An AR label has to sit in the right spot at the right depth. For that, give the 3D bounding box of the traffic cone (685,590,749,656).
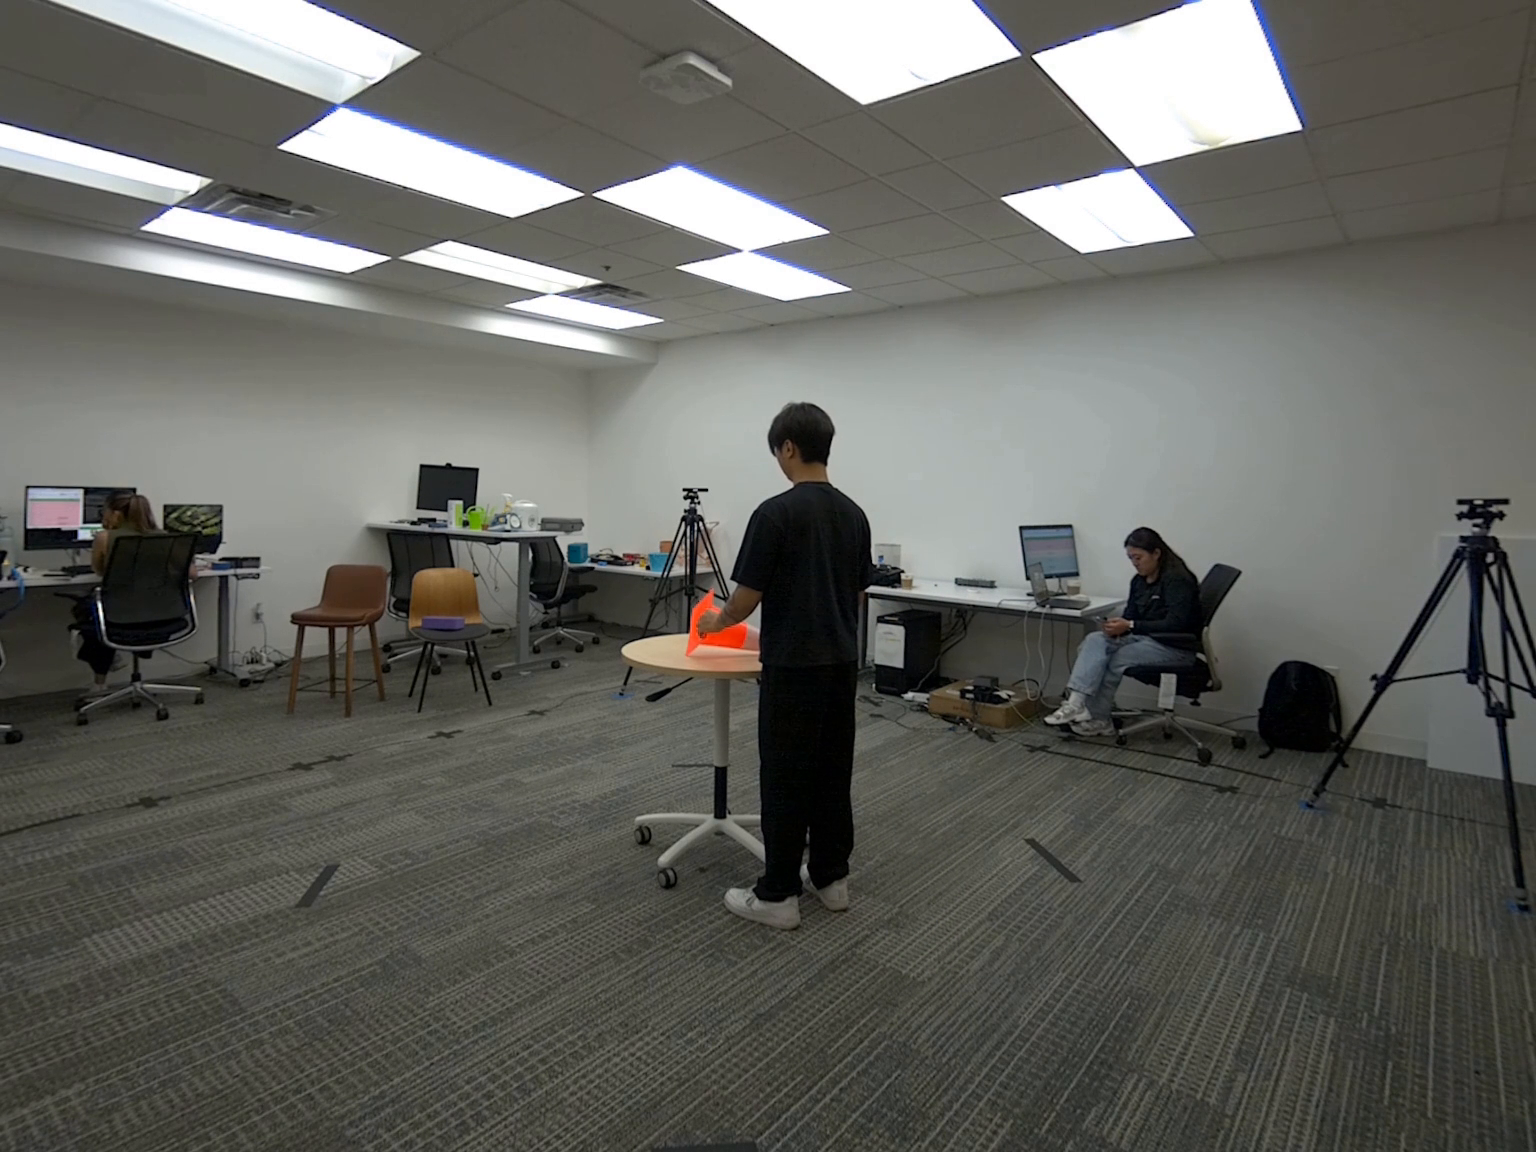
[{"bbox_3d":[-0.079,0.225,3.113,0.376,0.208,0.204,18,-35,-15],"label":"traffic cone"}]
